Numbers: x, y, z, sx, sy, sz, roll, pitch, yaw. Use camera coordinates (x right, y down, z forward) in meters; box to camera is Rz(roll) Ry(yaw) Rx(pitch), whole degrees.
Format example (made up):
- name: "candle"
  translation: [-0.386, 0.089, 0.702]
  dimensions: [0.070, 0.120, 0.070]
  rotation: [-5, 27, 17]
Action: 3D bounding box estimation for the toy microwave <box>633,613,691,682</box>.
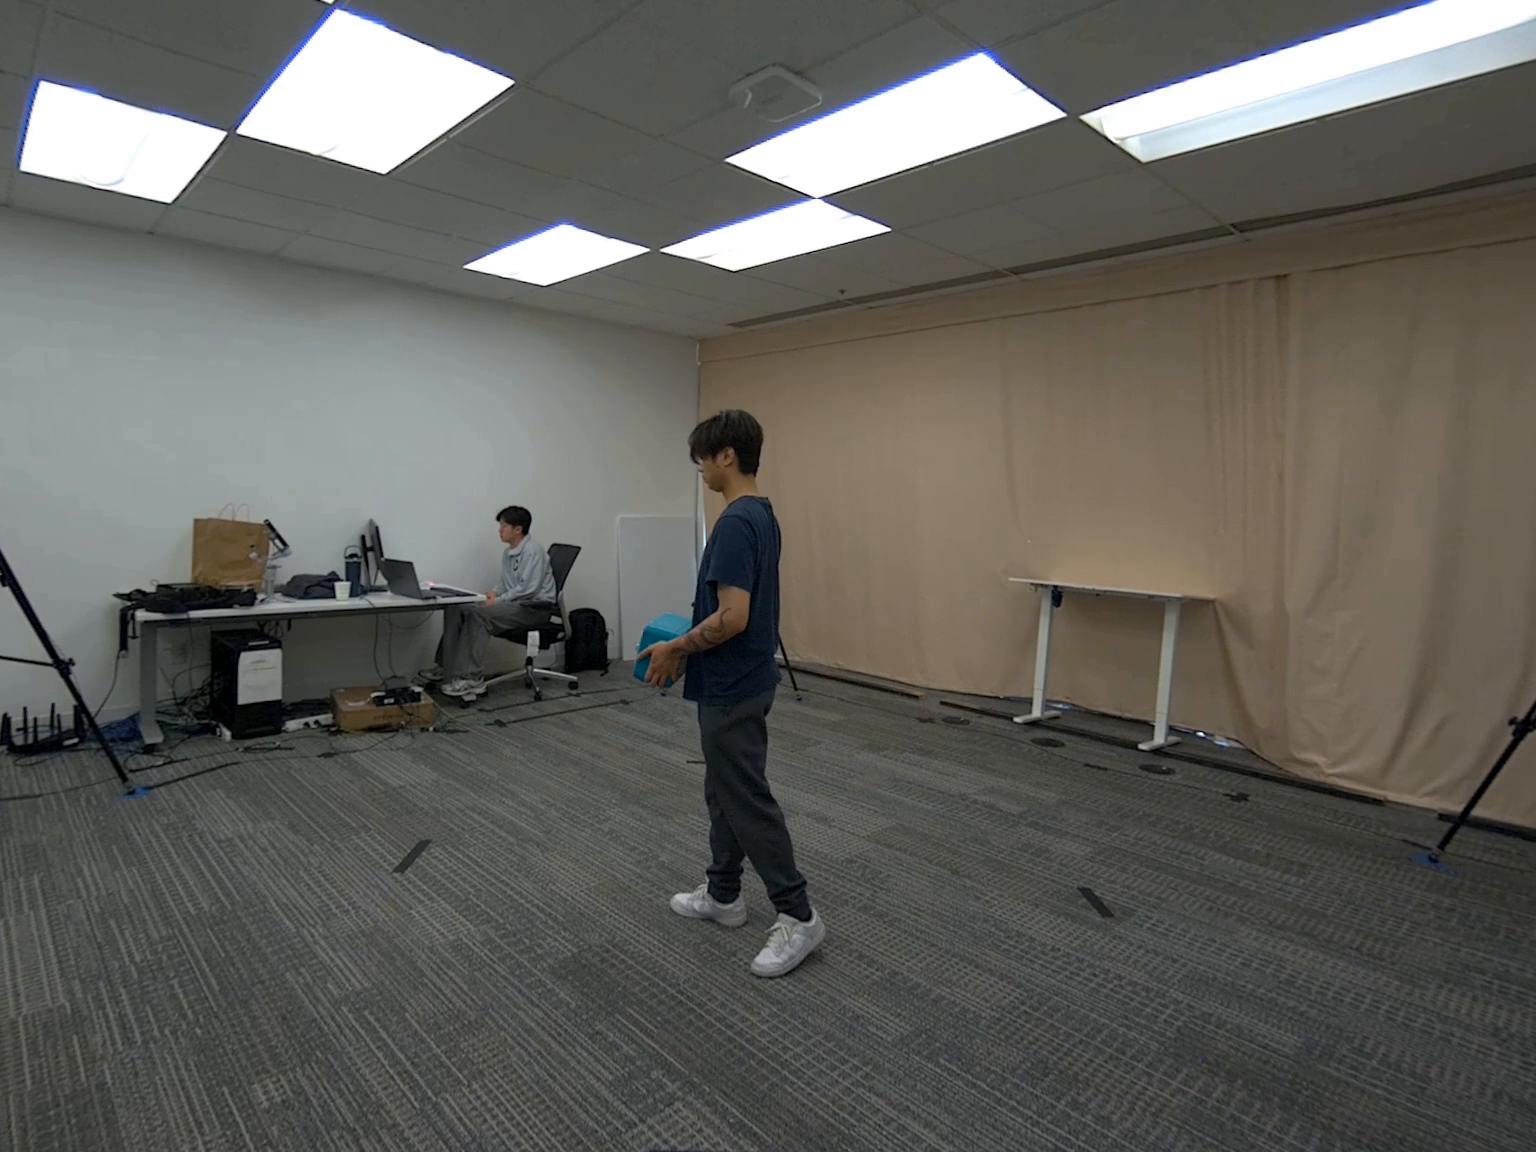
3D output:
- name: "toy microwave"
  translation: [-0.340, 0.229, 2.749]
  dimensions: [0.154, 0.183, 0.285]
  rotation: [16, 10, 8]
